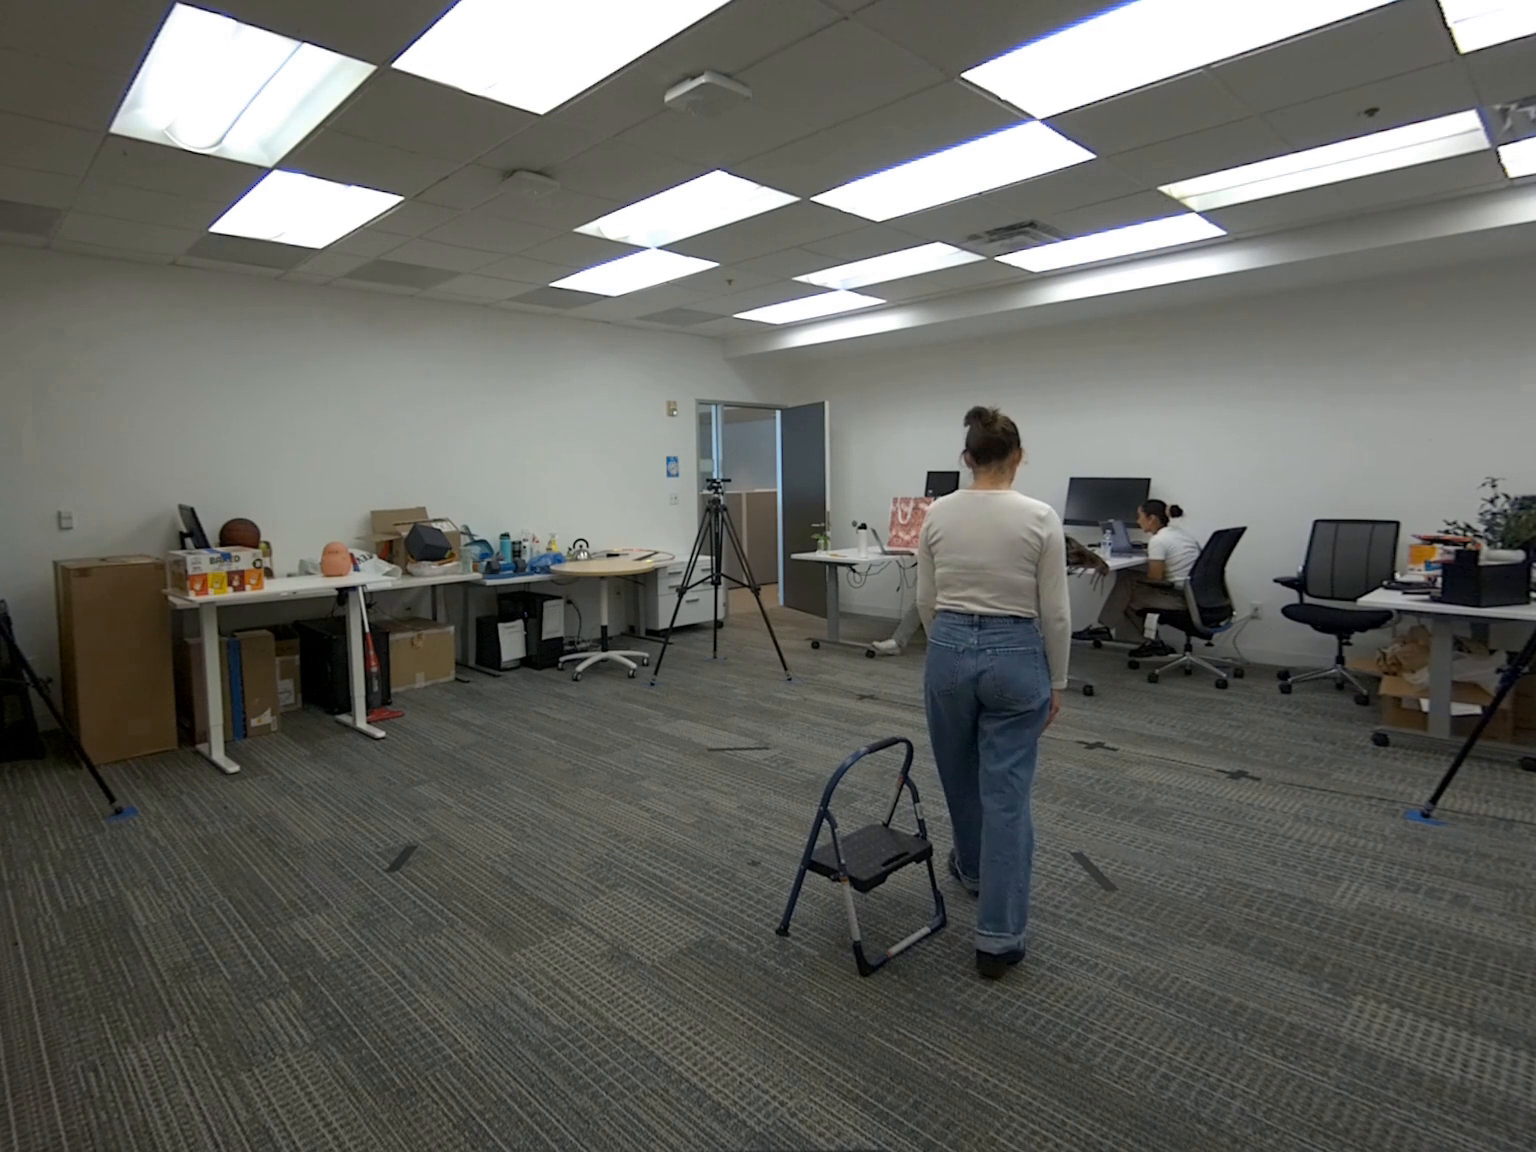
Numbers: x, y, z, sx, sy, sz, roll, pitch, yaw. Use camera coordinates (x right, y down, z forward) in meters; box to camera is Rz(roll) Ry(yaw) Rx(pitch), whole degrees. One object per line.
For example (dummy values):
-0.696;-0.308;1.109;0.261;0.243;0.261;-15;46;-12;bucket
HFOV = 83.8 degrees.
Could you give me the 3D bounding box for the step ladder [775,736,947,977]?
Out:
0.292;0.795;2.626;0.419;0.604;0.360;-6;6;-44;step ladder
